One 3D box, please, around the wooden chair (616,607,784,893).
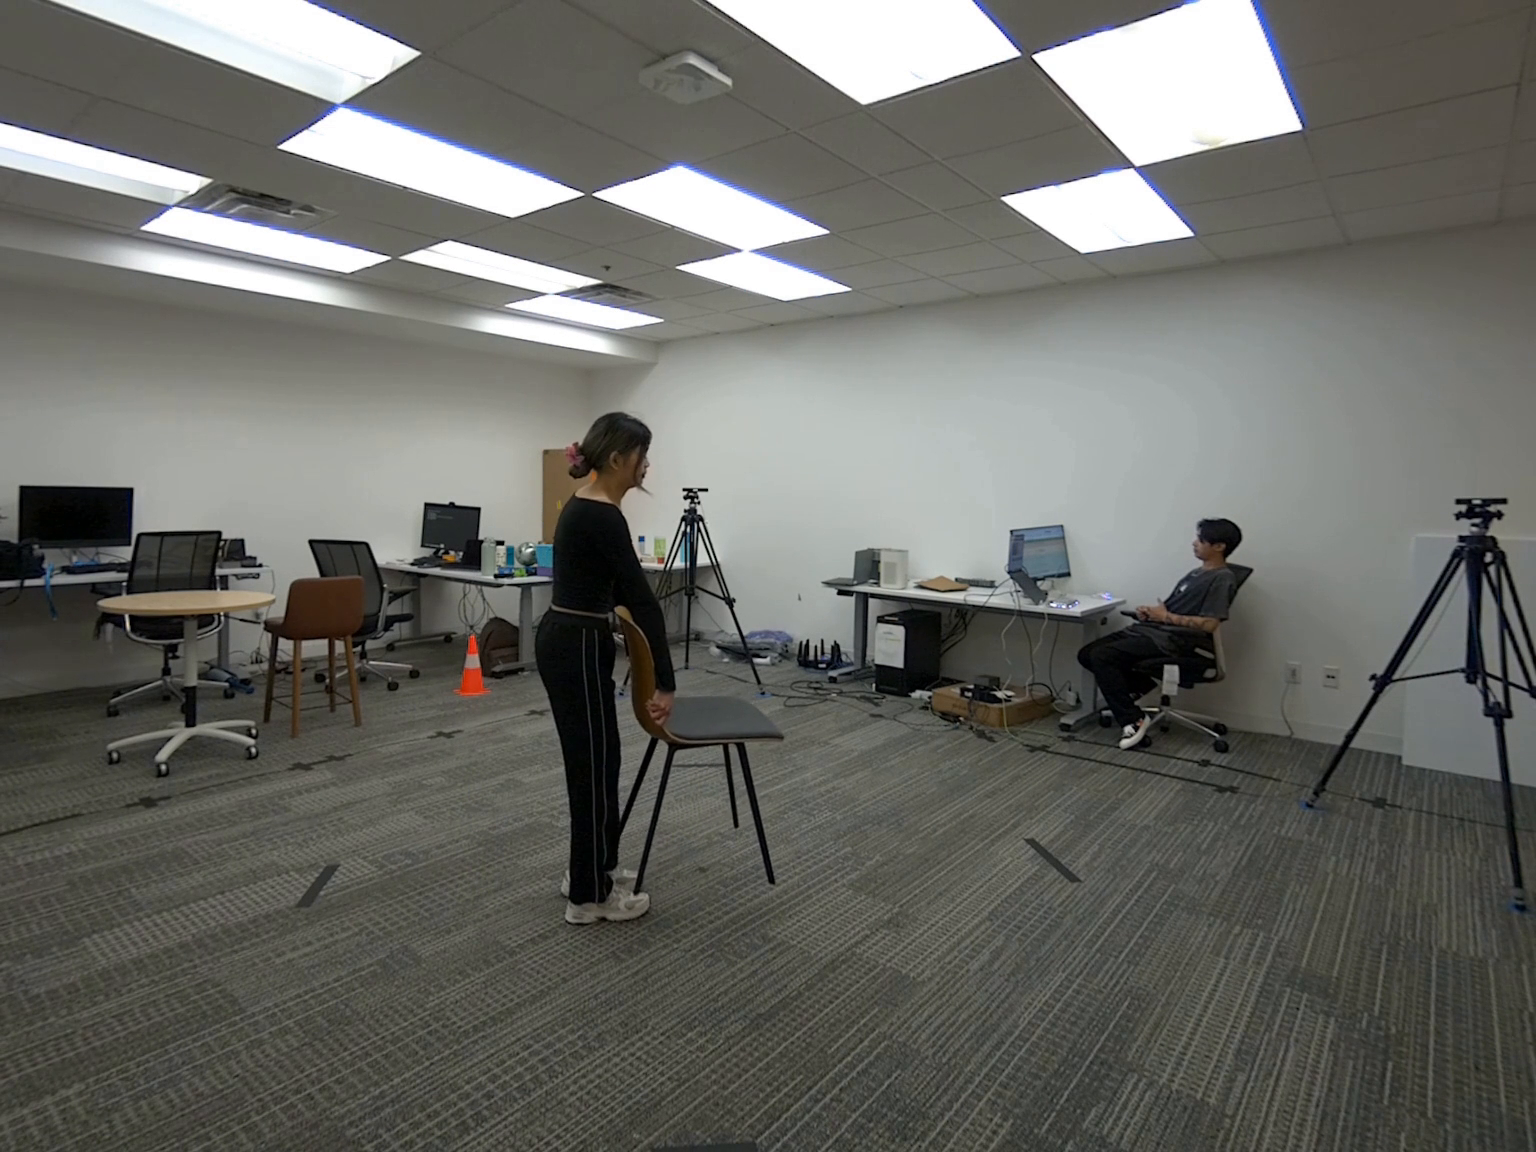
[{"bbox_3d":[-0.238,0.533,2.840,0.515,0.874,0.487,-3,4,-16],"label":"wooden chair"}]
